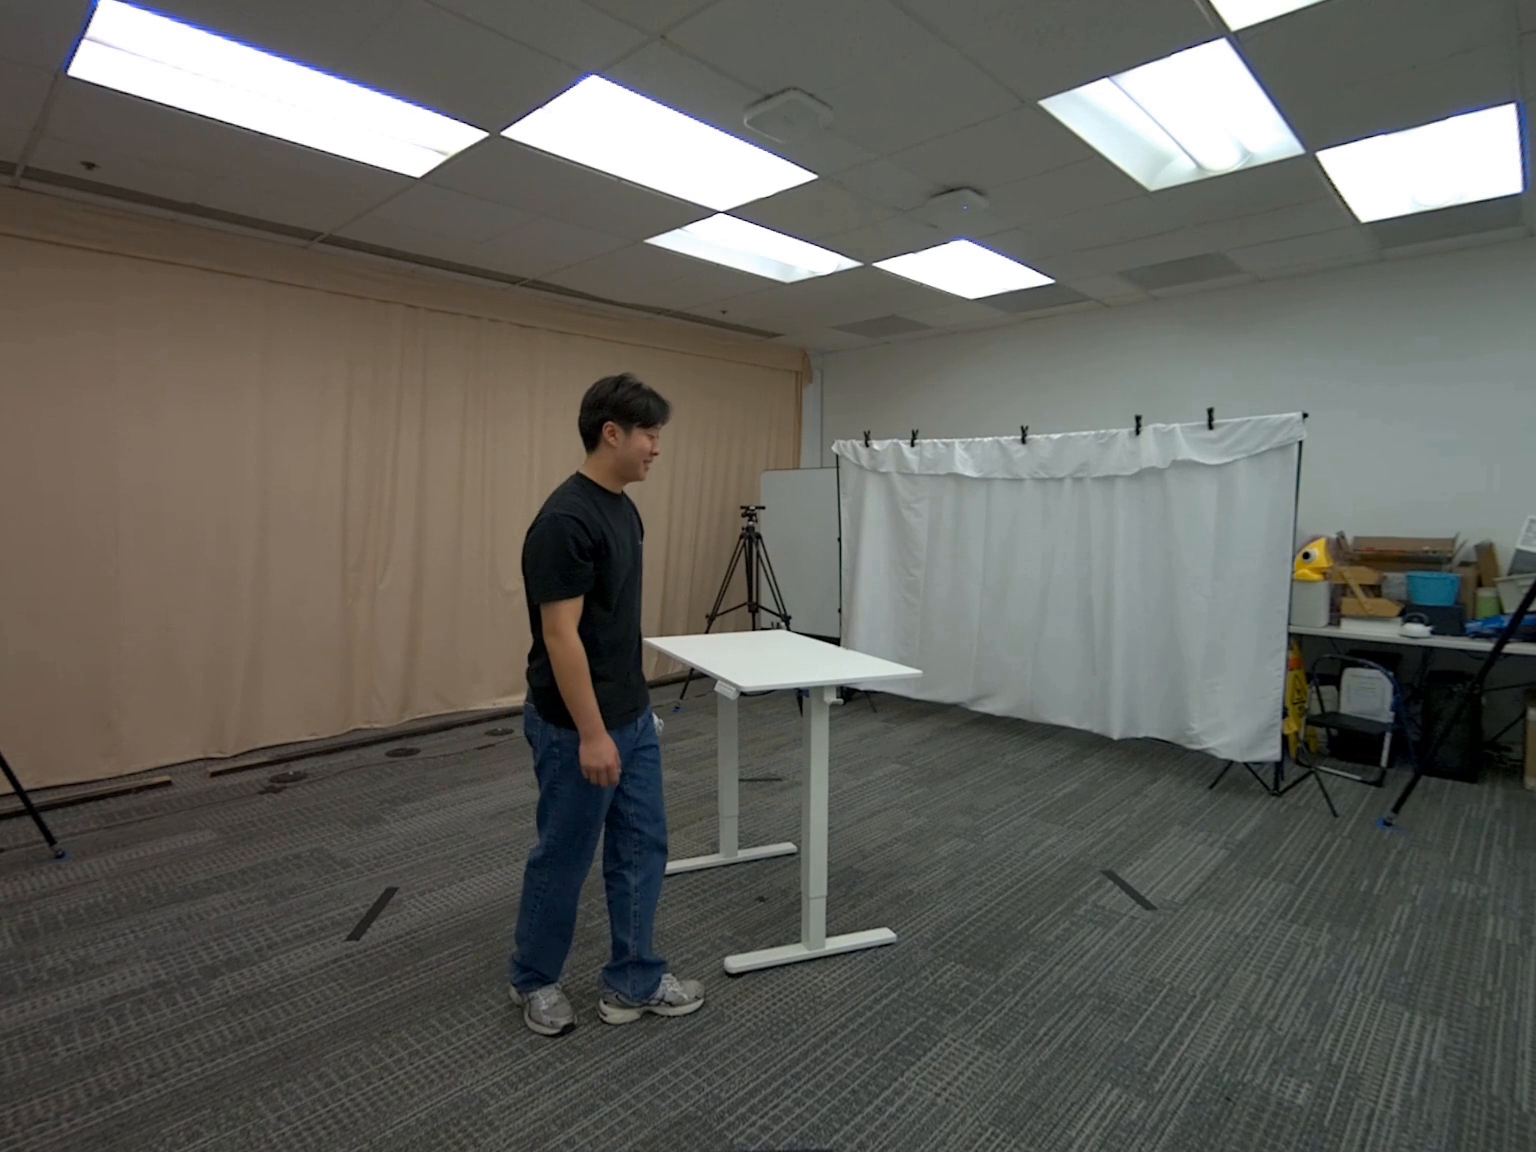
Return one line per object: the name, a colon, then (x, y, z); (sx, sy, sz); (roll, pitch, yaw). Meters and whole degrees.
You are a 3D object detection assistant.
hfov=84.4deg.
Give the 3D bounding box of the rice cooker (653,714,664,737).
rice cooker: (-0.443, 0.504, 2.594); (0.222, 0.232, 0.216); (2, 4, 6)
